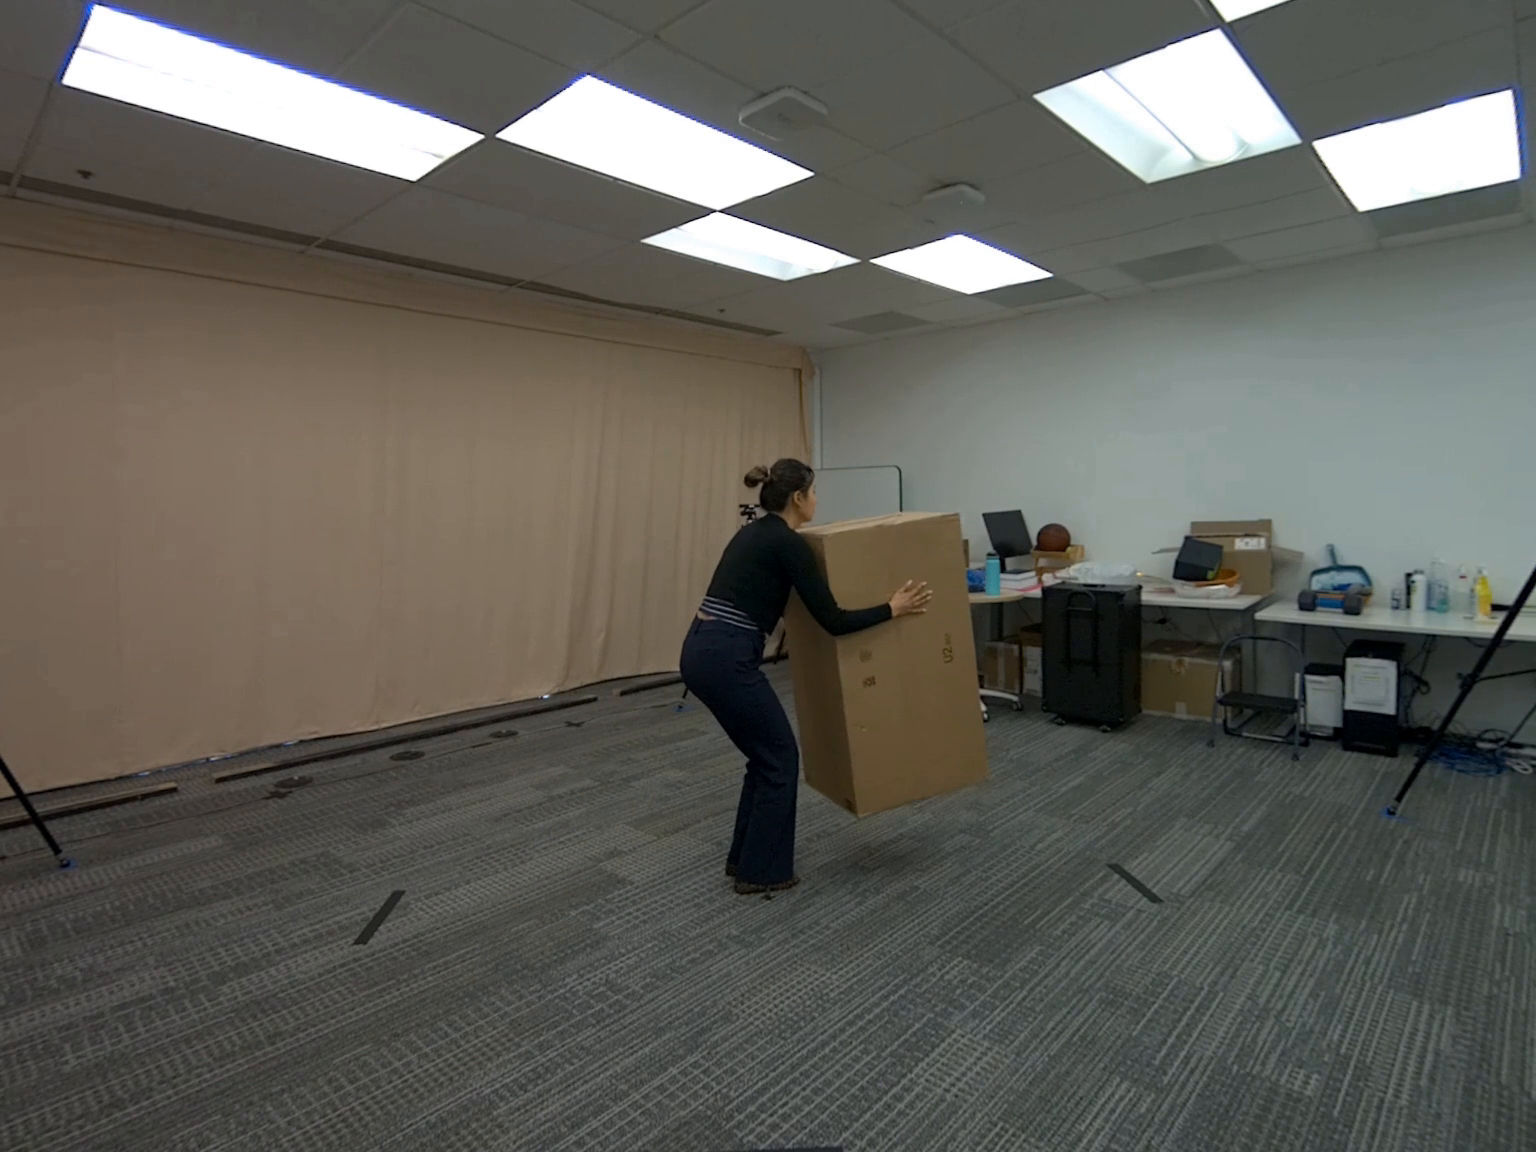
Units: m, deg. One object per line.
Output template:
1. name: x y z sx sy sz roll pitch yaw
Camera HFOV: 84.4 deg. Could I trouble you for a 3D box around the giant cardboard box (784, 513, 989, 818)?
1. giant cardboard box: 0.433 0.305 3.239 0.567 1.021 0.436 -10 6 -21
